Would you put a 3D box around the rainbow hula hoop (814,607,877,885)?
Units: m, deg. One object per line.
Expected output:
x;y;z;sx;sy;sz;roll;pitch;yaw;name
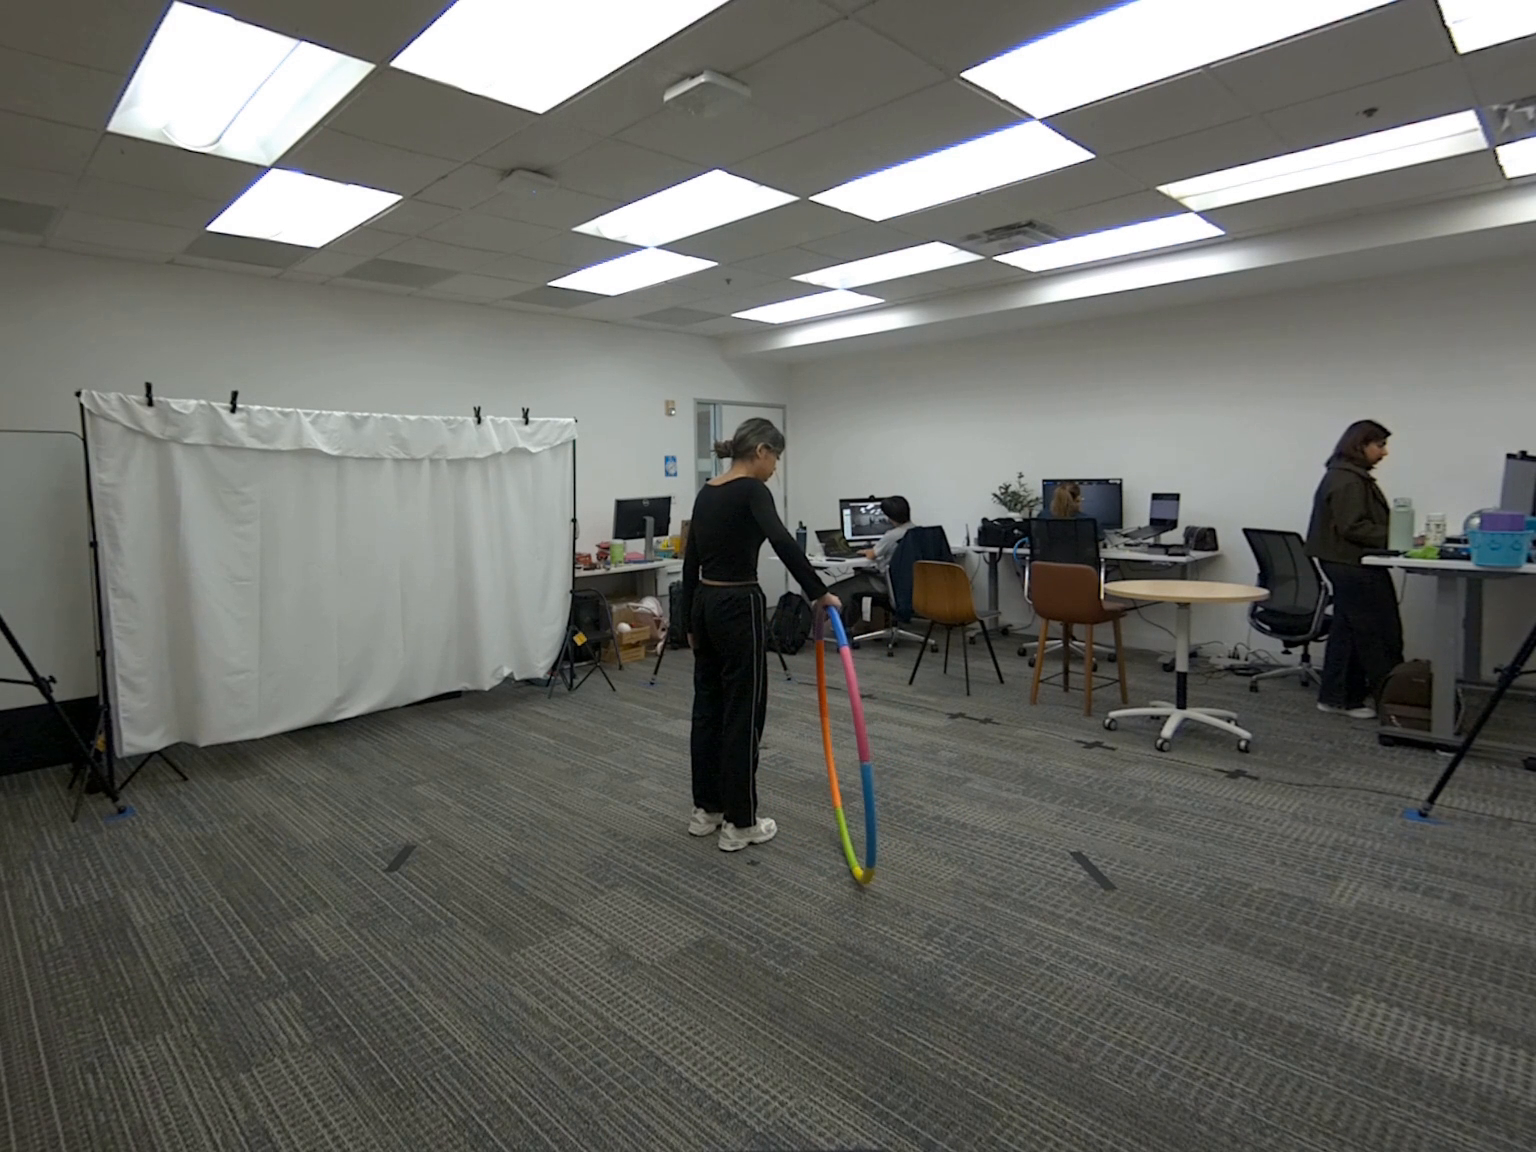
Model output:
0.259;0.569;3.022;0.035;0.974;0.985;-7;5;-4;rainbow hula hoop
